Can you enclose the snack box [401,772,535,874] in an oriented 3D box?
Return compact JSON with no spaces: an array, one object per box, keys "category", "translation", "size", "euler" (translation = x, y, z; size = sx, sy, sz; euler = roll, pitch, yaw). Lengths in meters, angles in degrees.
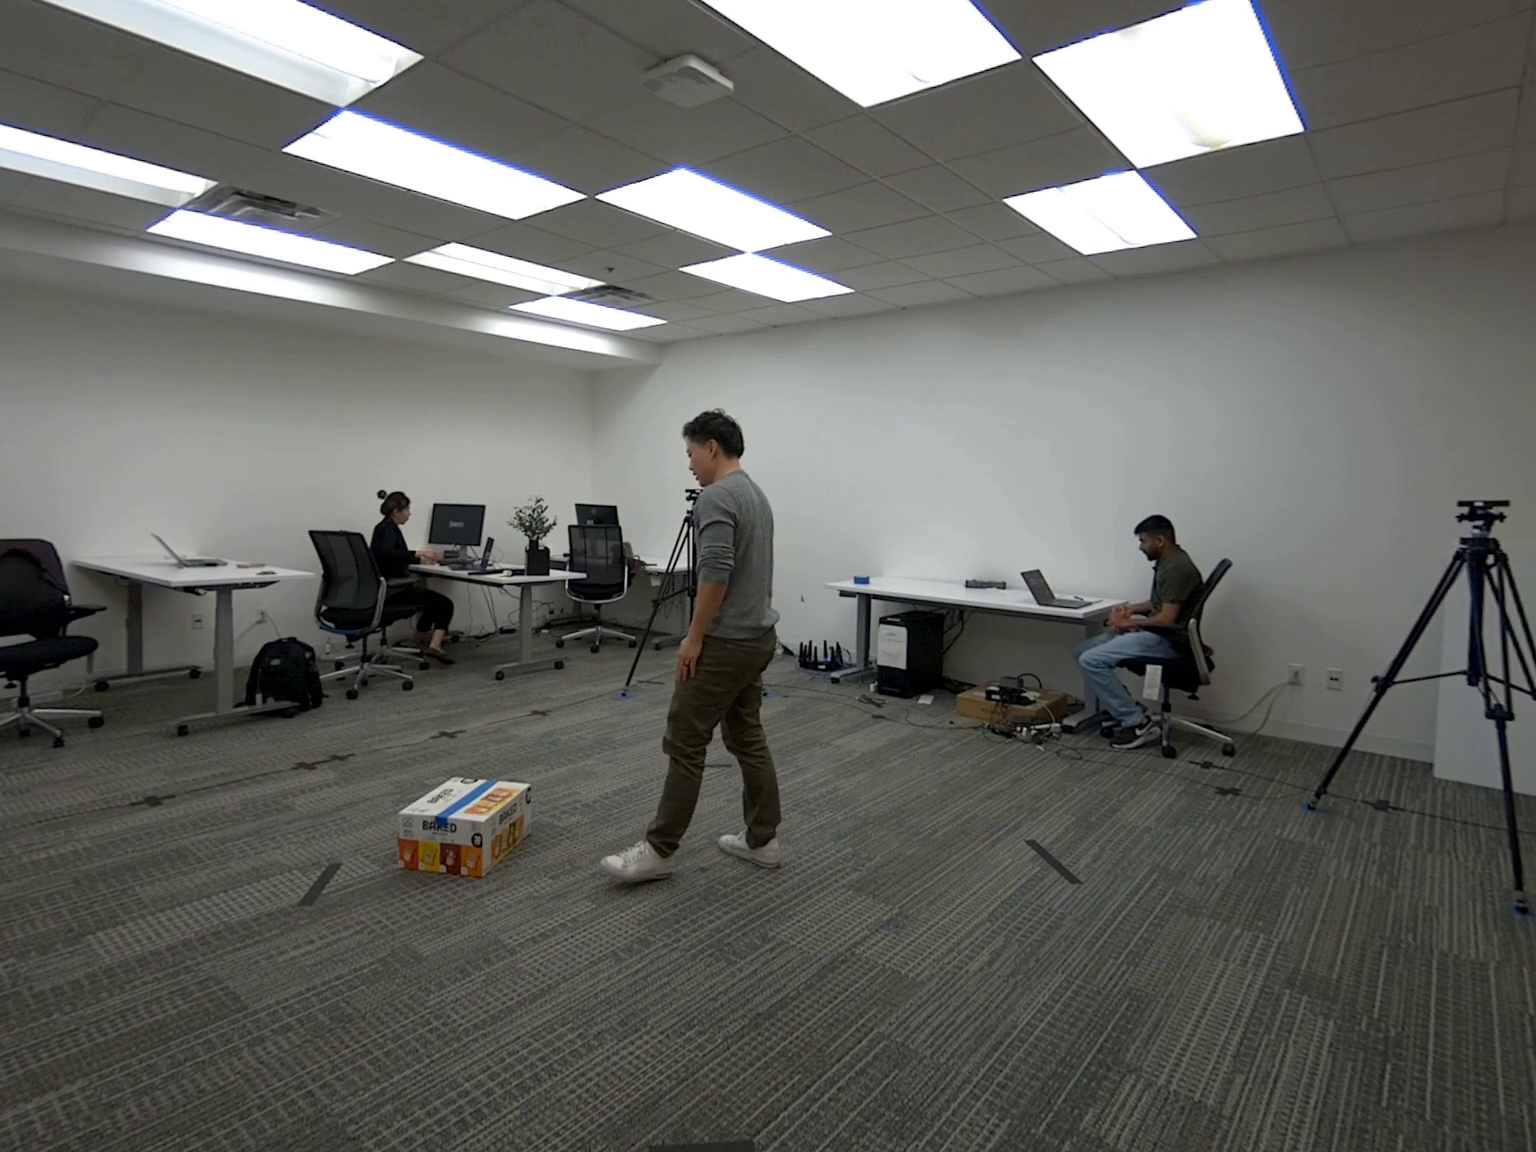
[{"category":"snack box","translation":[-1.147,0.938,3.241],"size":[0.344,0.205,0.402],"euler":[2,5,10]}]
